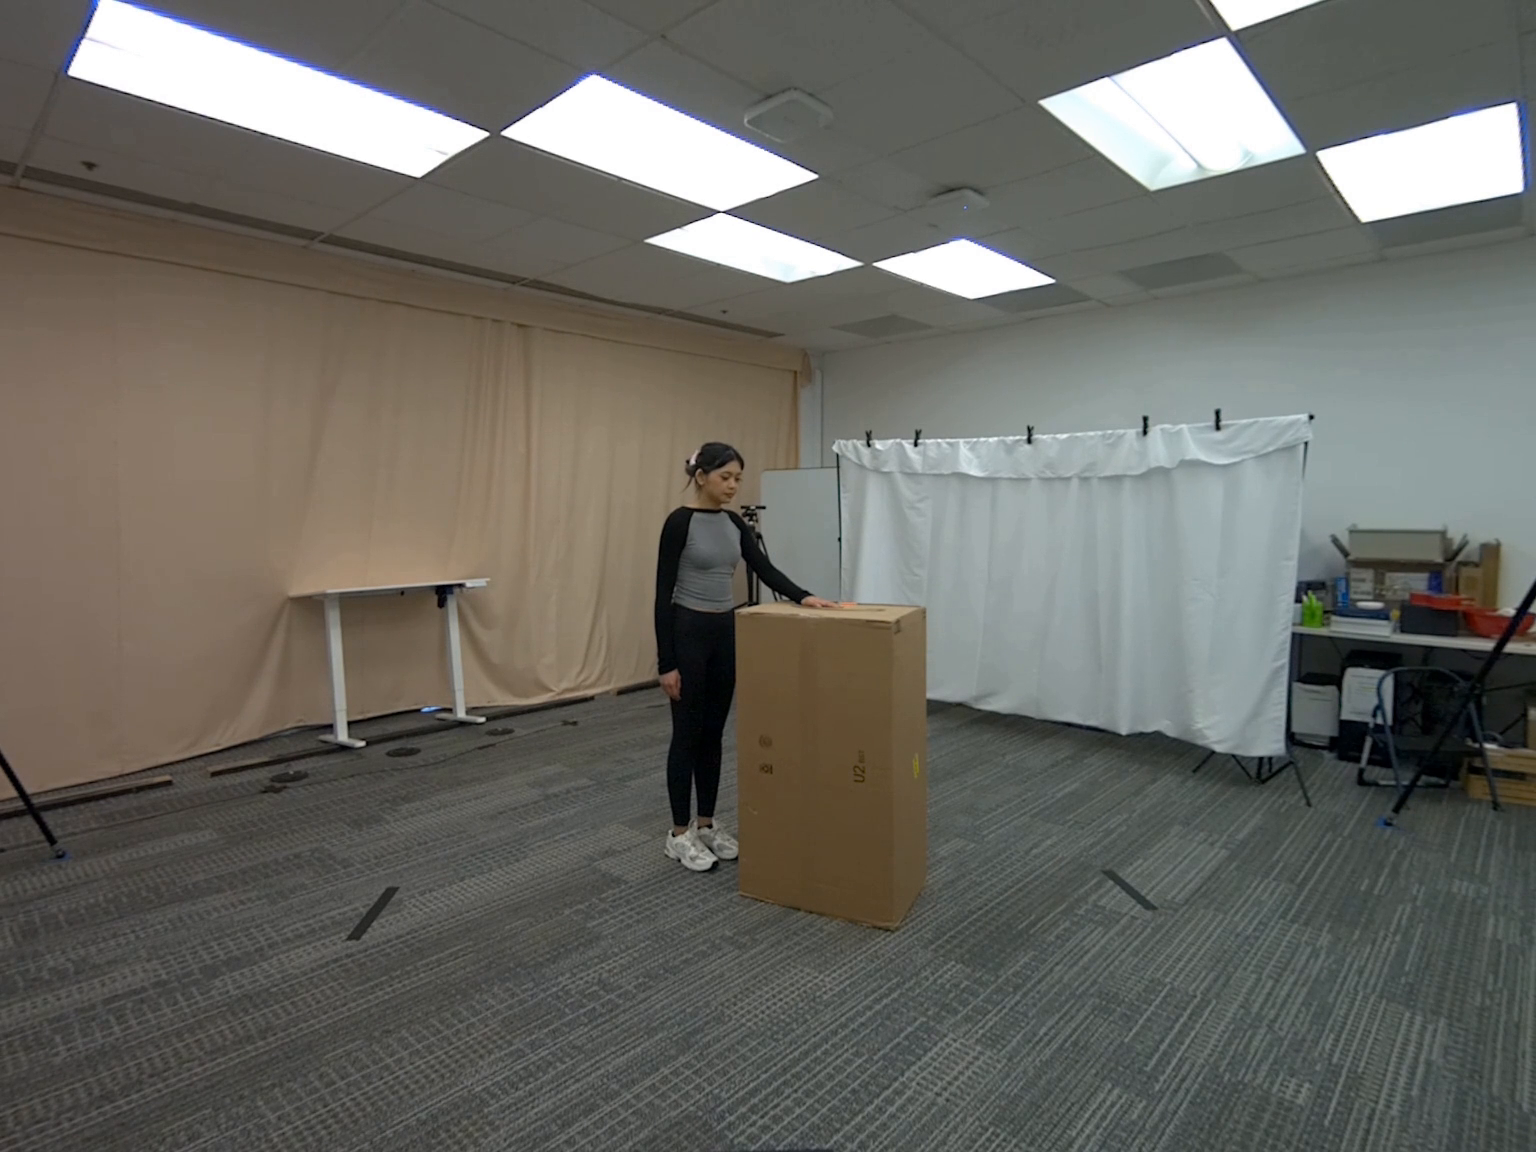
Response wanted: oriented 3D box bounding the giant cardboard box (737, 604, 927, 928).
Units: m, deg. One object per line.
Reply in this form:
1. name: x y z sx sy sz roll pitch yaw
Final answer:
1. giant cardboard box: 0.244 0.632 3.040 0.599 1.025 0.436 1 4 26
